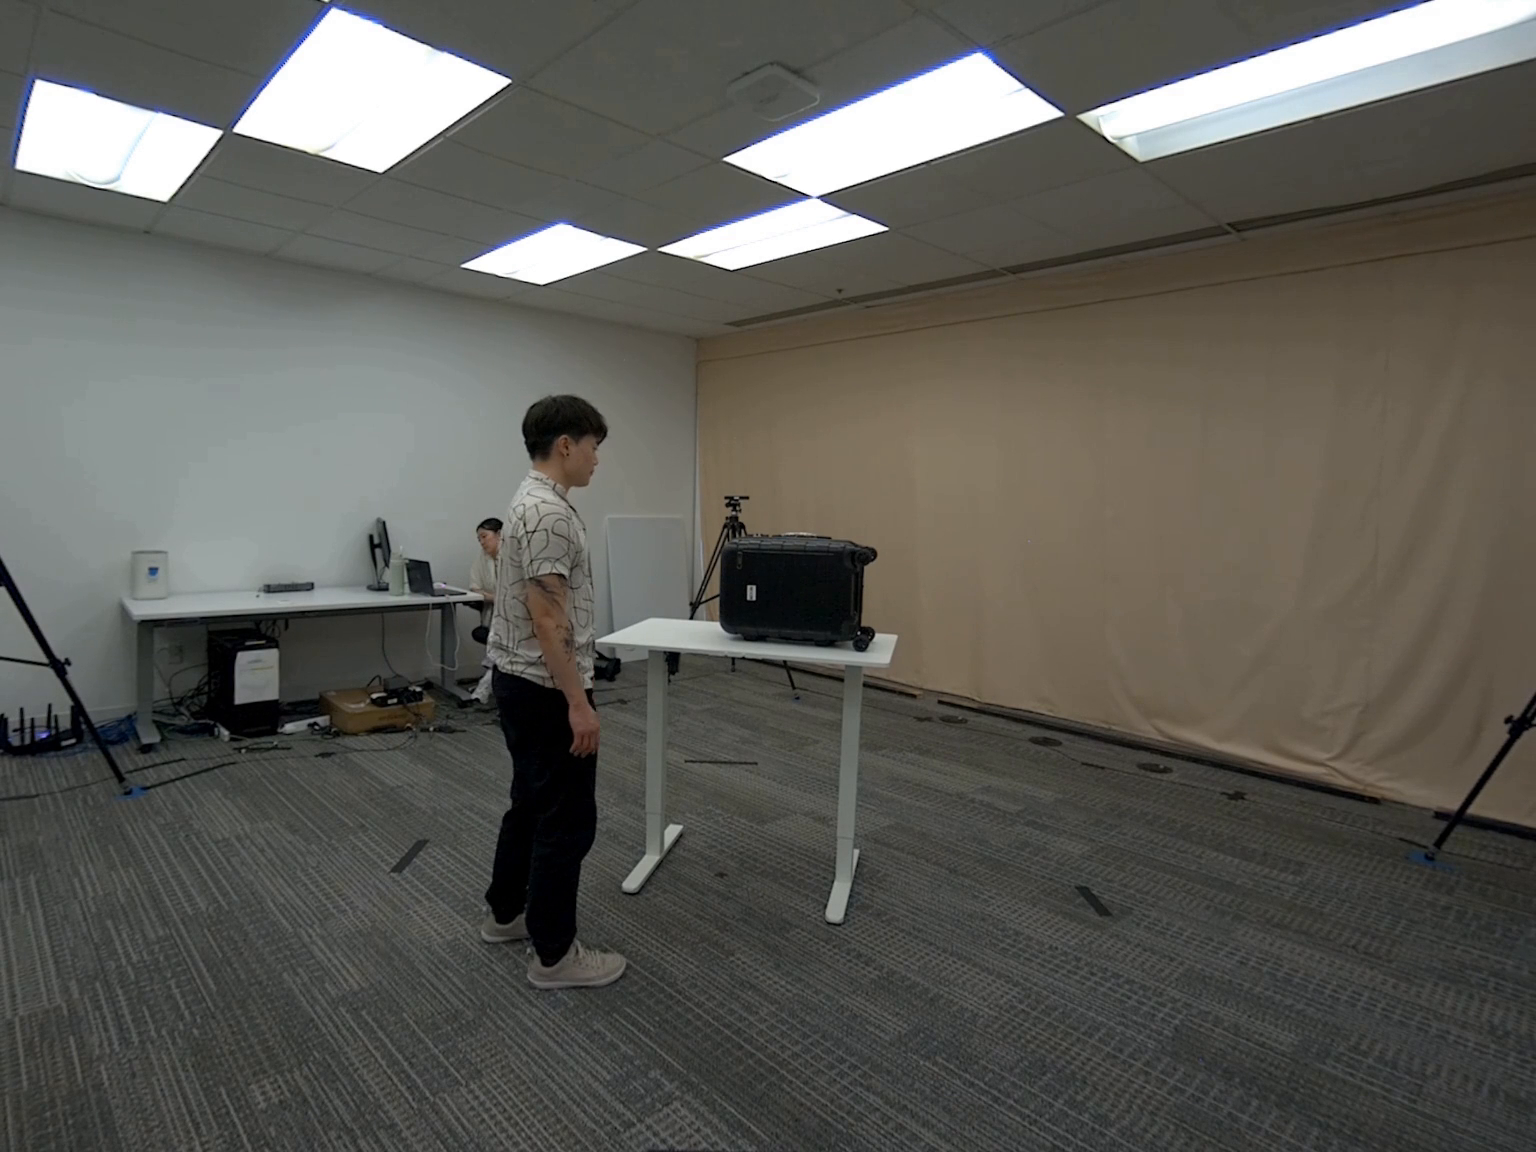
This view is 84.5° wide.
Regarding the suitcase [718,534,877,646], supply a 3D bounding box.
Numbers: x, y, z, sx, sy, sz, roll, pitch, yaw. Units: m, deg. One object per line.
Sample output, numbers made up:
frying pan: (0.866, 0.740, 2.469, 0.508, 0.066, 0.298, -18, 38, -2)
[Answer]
suitcase: (0.094, 0.042, 3.018, 0.556, 0.374, 0.246, 4, 4, 14)
